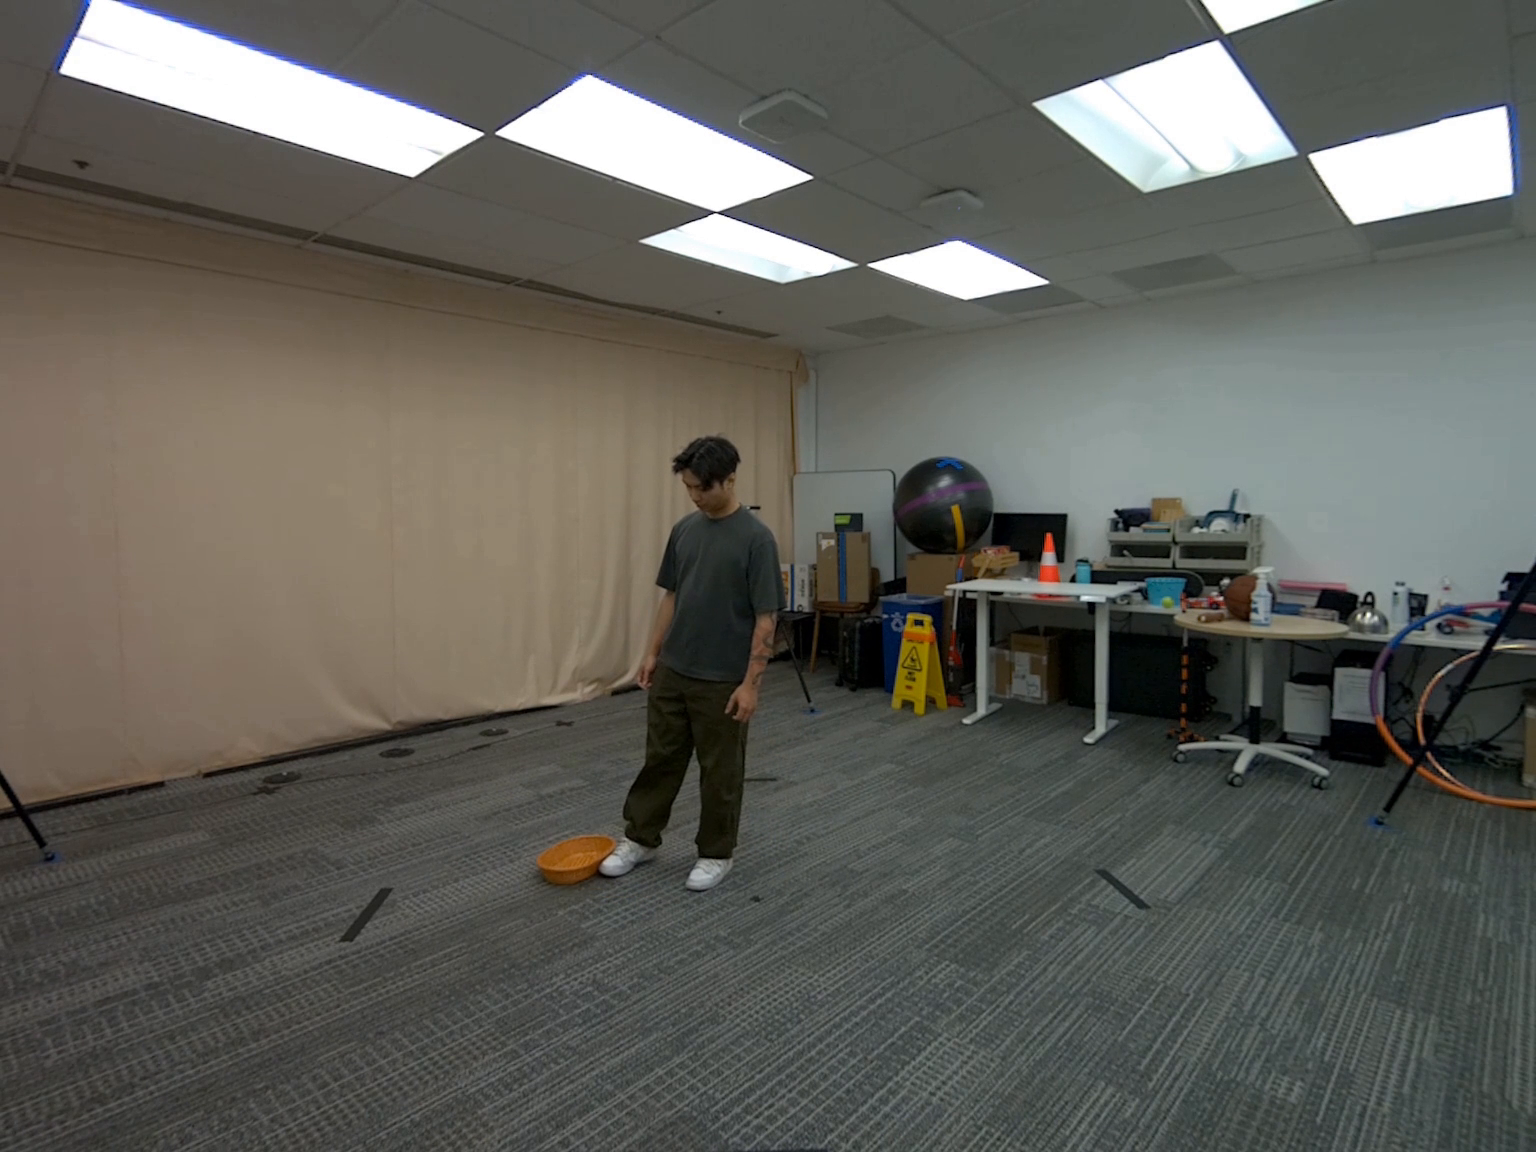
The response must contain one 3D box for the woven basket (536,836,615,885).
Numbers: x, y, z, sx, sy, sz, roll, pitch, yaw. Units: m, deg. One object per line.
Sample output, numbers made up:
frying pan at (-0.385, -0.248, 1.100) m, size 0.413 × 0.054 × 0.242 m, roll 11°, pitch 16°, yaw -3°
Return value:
woven basket at (-0.736, 1.094, 3.238) m, size 0.259 × 0.073 × 0.341 m, roll -1°, pitch 4°, yaw 29°
